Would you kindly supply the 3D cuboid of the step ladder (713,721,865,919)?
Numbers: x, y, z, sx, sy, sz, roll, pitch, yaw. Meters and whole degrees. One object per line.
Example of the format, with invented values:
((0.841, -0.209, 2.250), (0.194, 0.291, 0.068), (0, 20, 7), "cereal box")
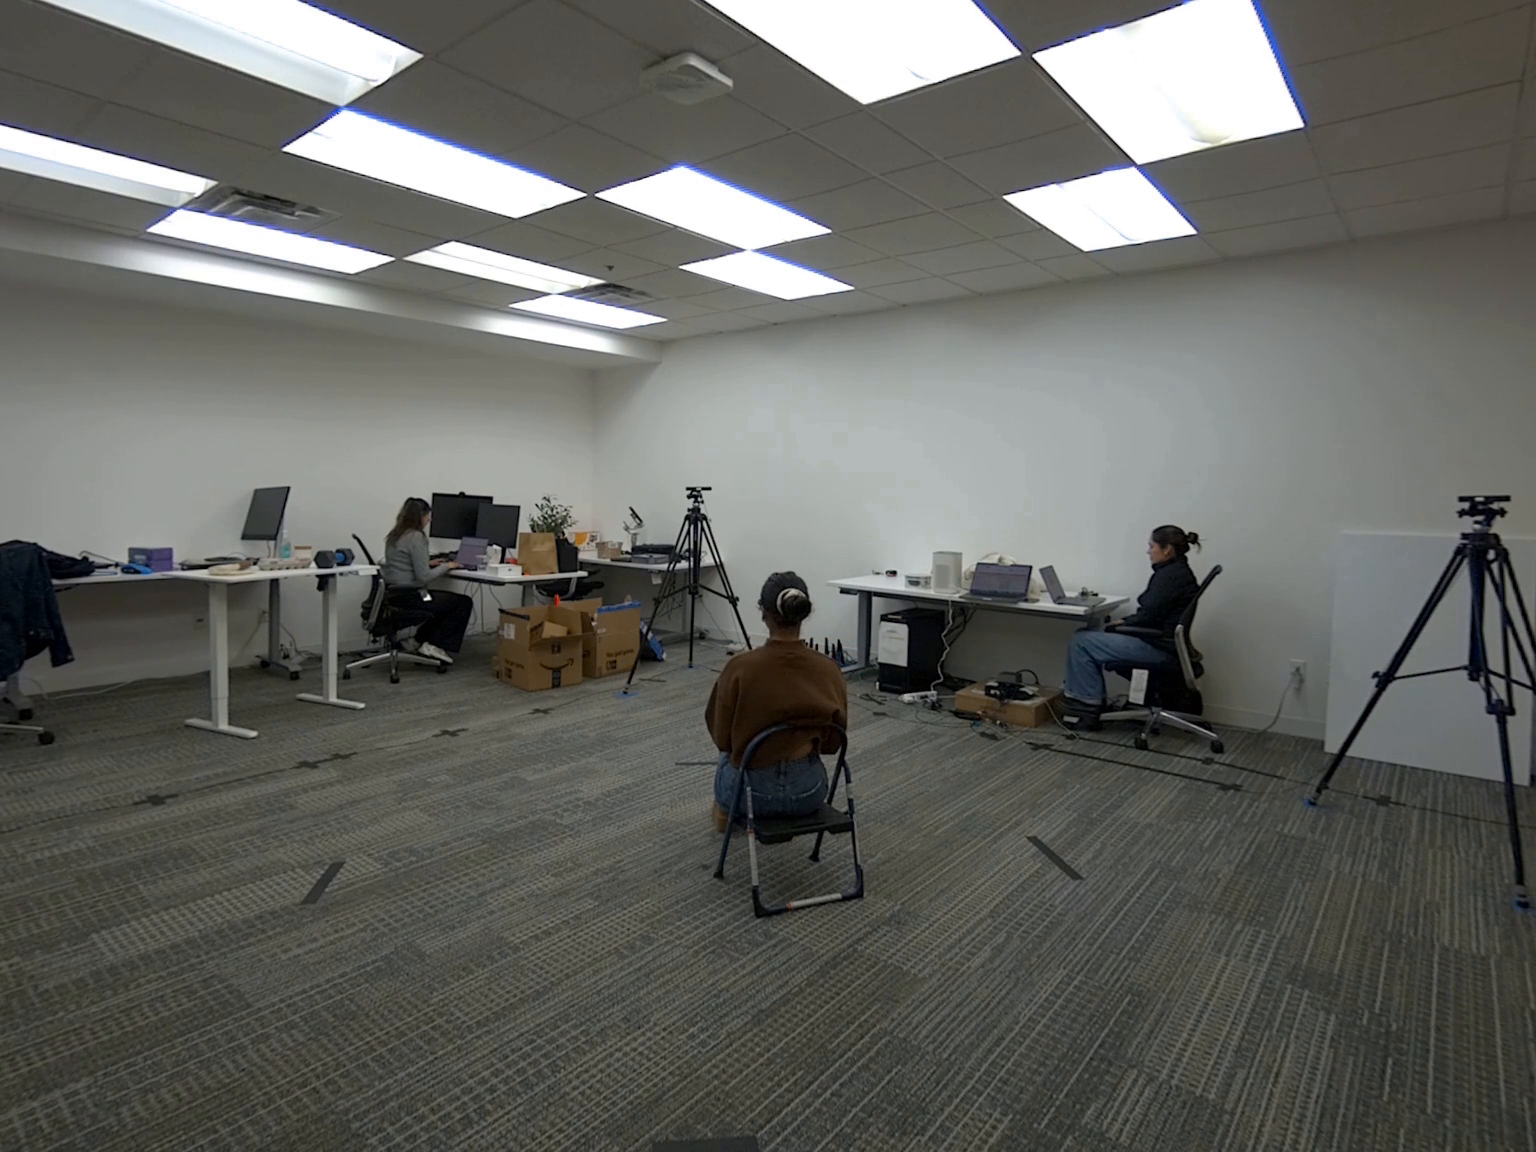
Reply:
((0.068, 0.789, 2.968), (0.420, 0.604, 0.359), (-1, 4, -26), "step ladder")
